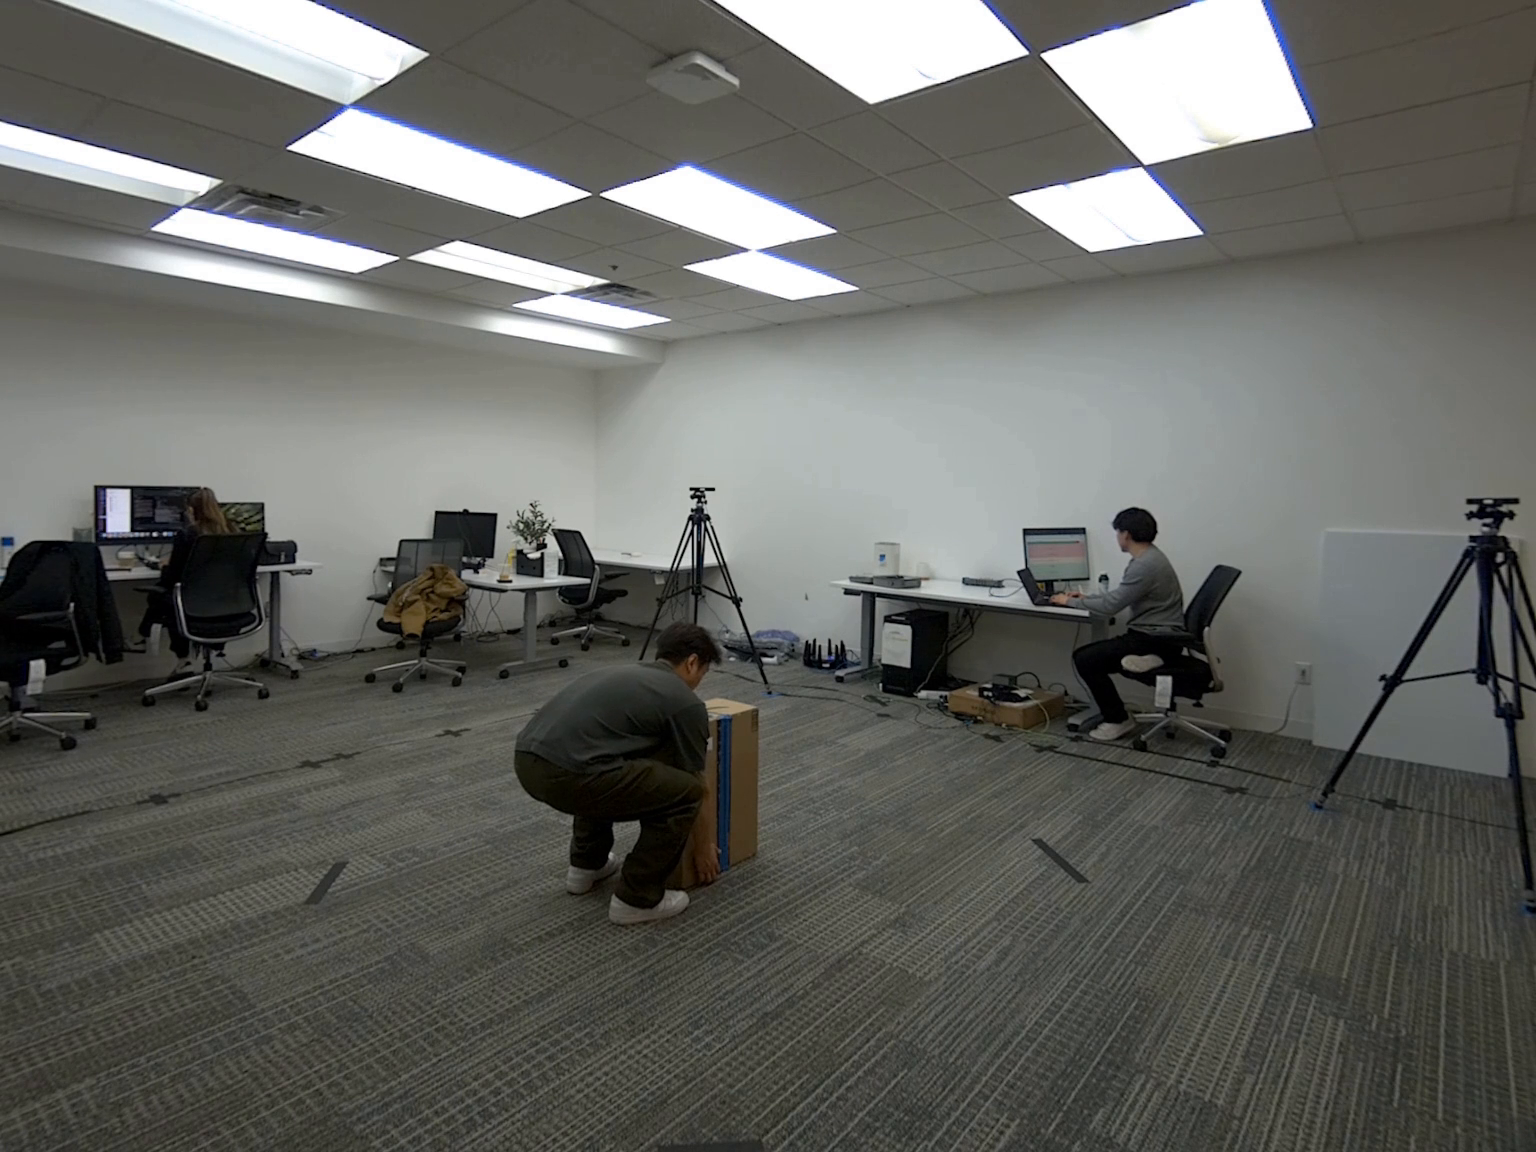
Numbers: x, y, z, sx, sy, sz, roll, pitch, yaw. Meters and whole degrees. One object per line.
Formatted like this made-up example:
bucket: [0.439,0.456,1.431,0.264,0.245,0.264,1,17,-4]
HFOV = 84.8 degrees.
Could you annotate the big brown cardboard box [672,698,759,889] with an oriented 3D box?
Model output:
big brown cardboard box: [-0.254,0.777,3.142,0.241,0.586,0.405,4,6,40]
